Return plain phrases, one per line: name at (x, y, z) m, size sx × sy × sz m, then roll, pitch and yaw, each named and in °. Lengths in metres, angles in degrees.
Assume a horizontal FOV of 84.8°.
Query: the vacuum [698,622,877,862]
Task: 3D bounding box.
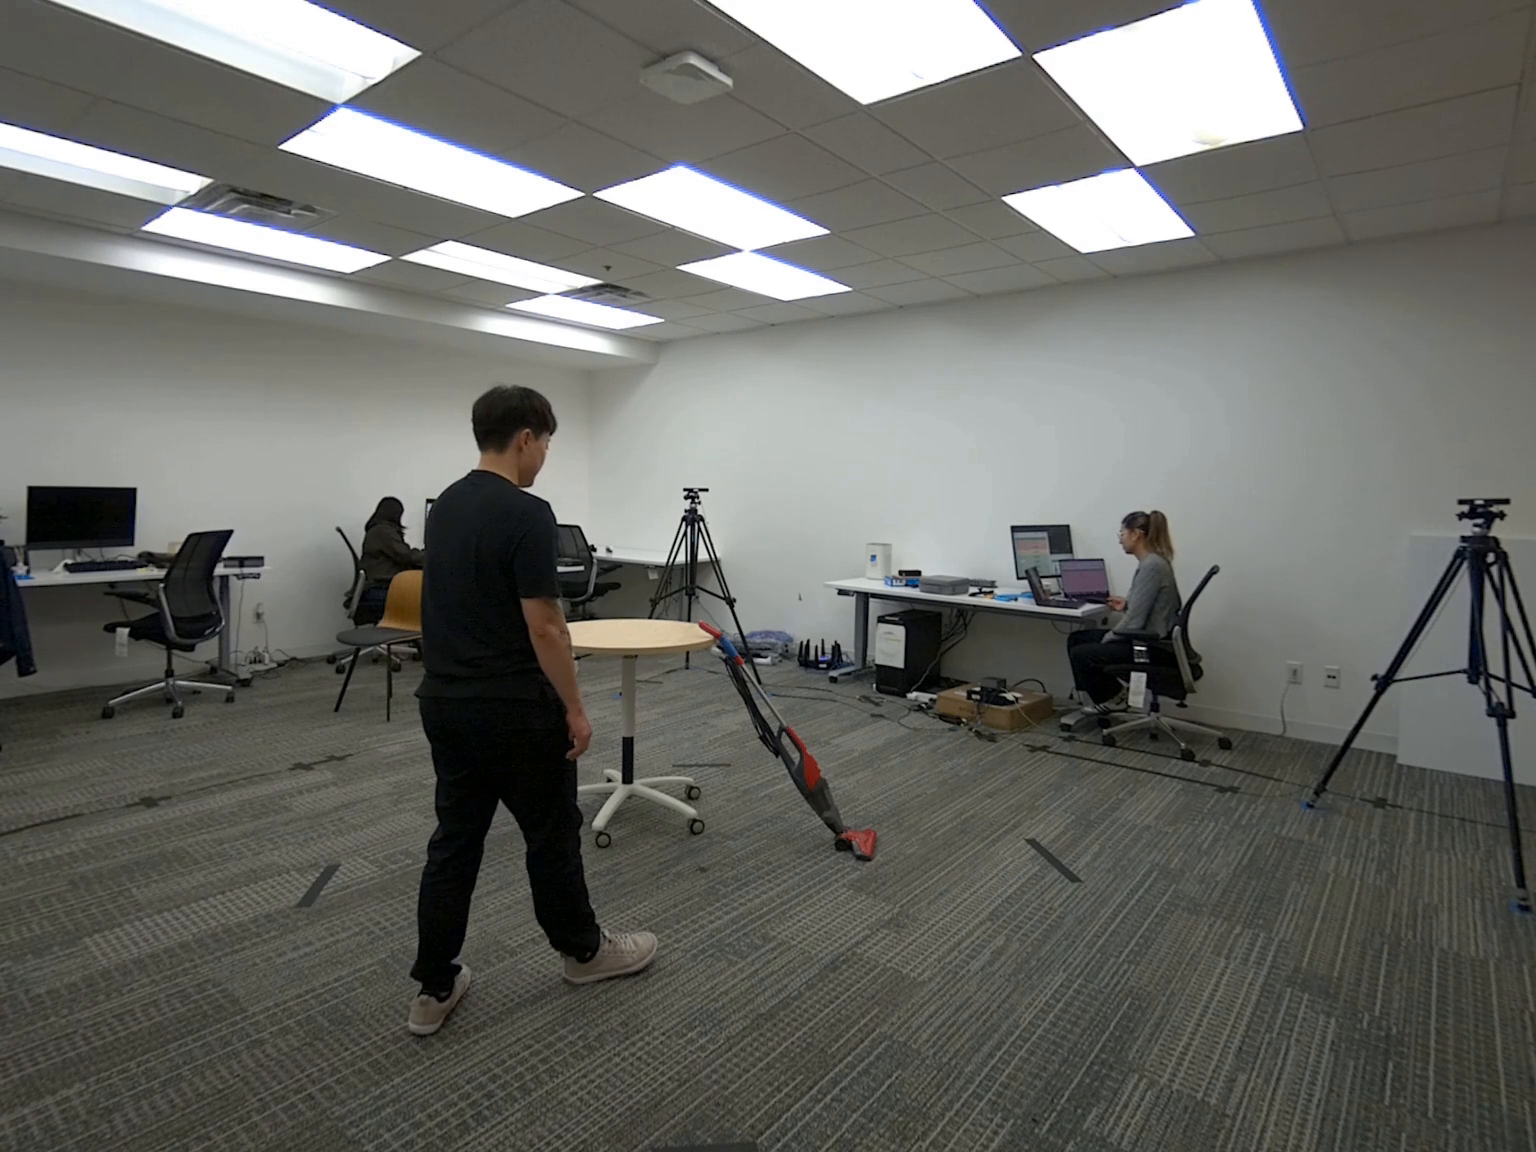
vacuum at (0.038, 0.623, 3.409) m, size 0.144 × 1.061 × 0.249 m, roll -37°, pitch -8°, yaw 16°
